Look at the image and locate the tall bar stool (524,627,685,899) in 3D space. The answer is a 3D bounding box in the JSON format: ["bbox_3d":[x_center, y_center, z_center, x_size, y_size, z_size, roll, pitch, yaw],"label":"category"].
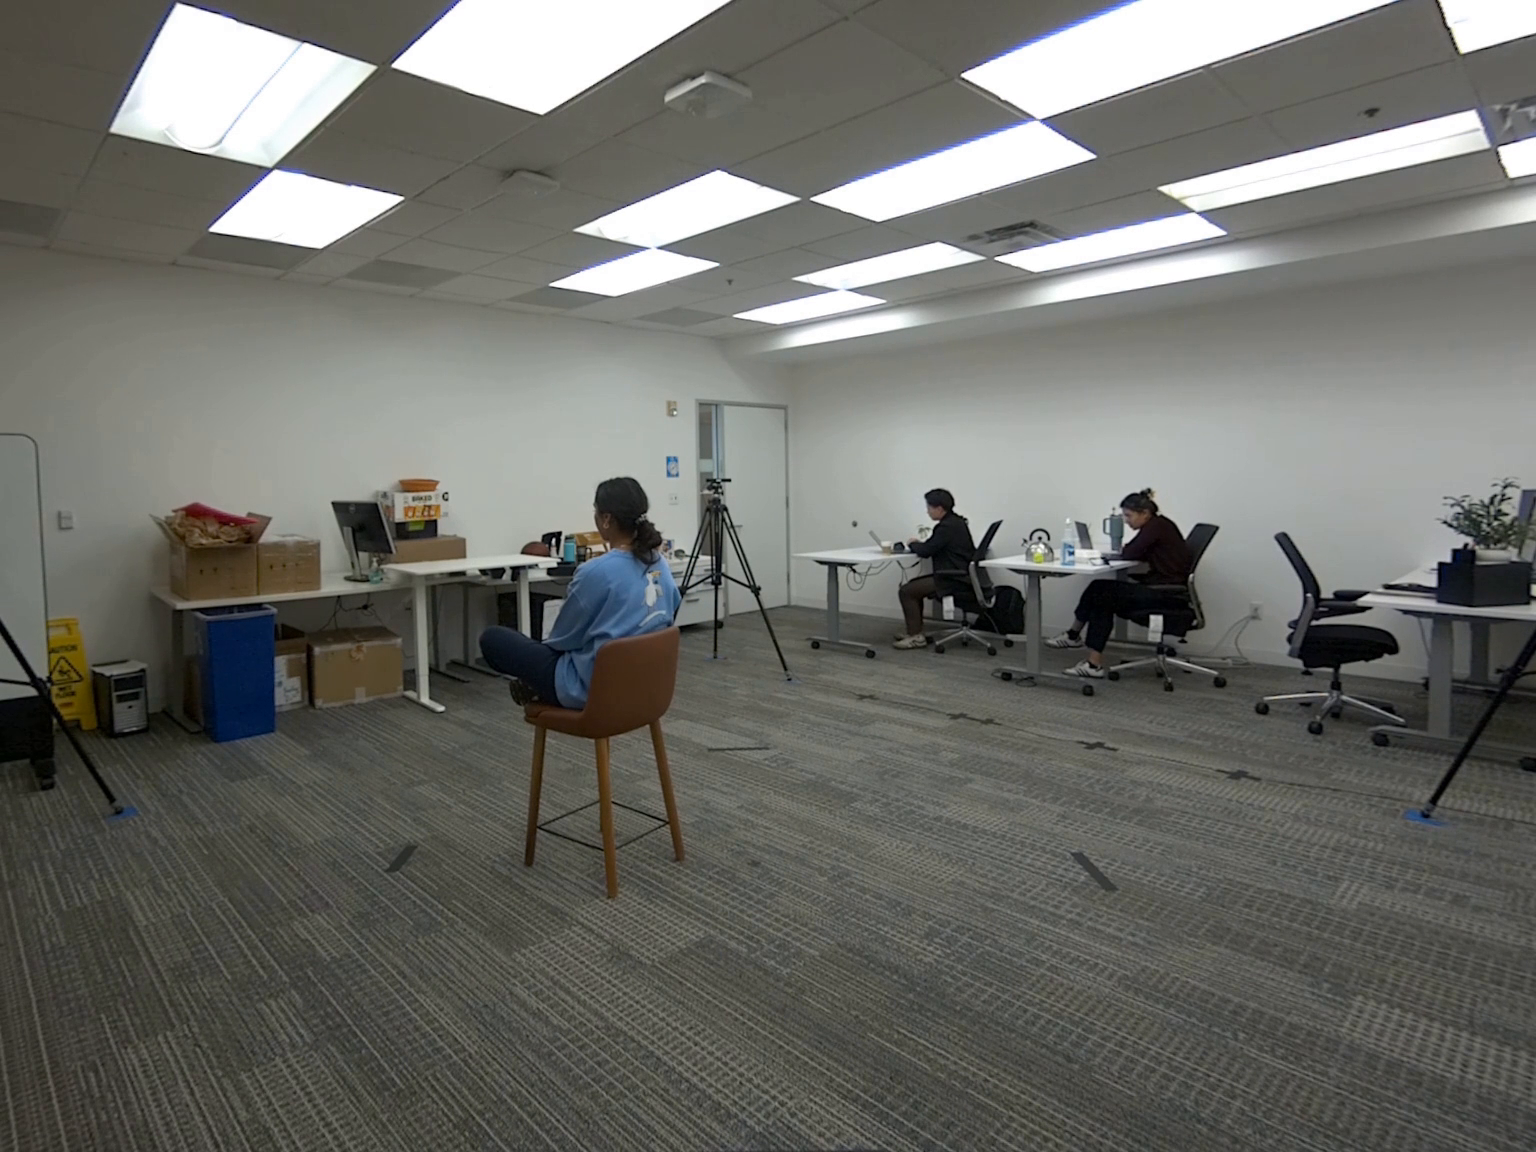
[{"bbox_3d":[-0.594,0.619,3.111,0.482,0.885,0.445,4,7,37],"label":"tall bar stool"}]
